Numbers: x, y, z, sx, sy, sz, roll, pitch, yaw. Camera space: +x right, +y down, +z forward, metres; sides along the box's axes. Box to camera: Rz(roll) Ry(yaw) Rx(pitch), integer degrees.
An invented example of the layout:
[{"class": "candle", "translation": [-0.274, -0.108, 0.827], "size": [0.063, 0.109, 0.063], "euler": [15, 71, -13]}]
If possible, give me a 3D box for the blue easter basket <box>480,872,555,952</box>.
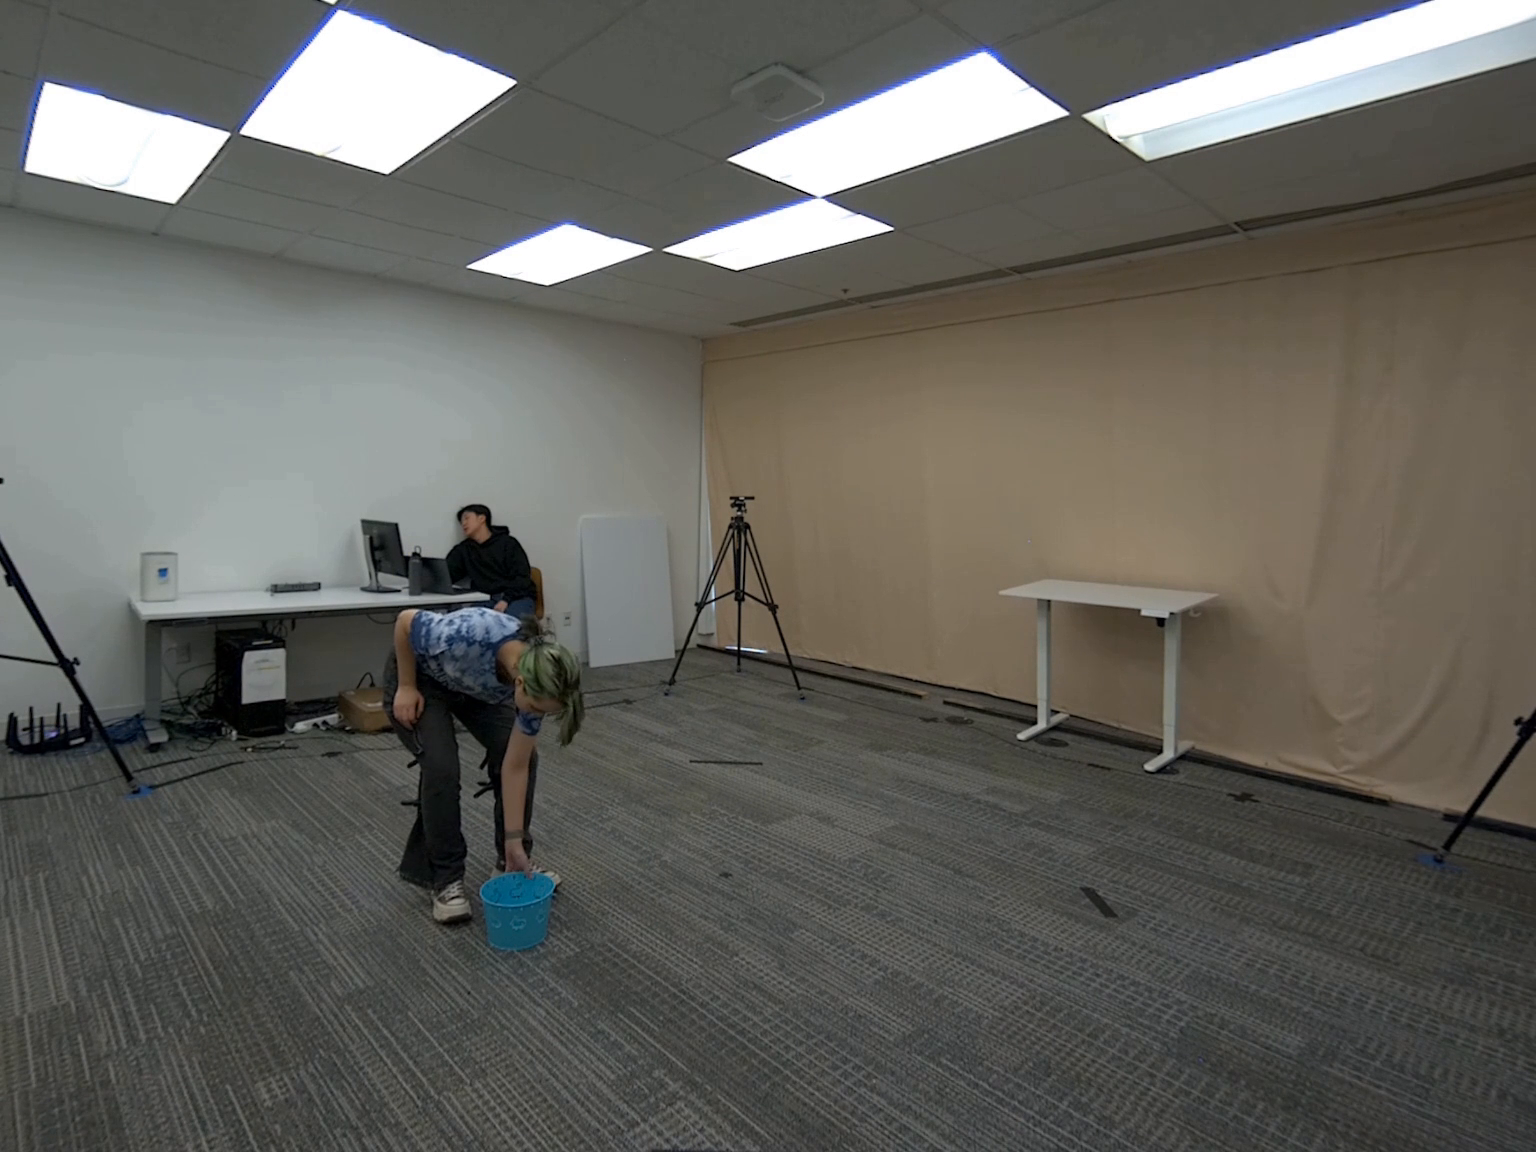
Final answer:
[{"class": "blue easter basket", "translation": [-0.791, 1.055, 2.646], "size": [0.243, 0.155, 0.244], "euler": [2, 5, -2]}]
